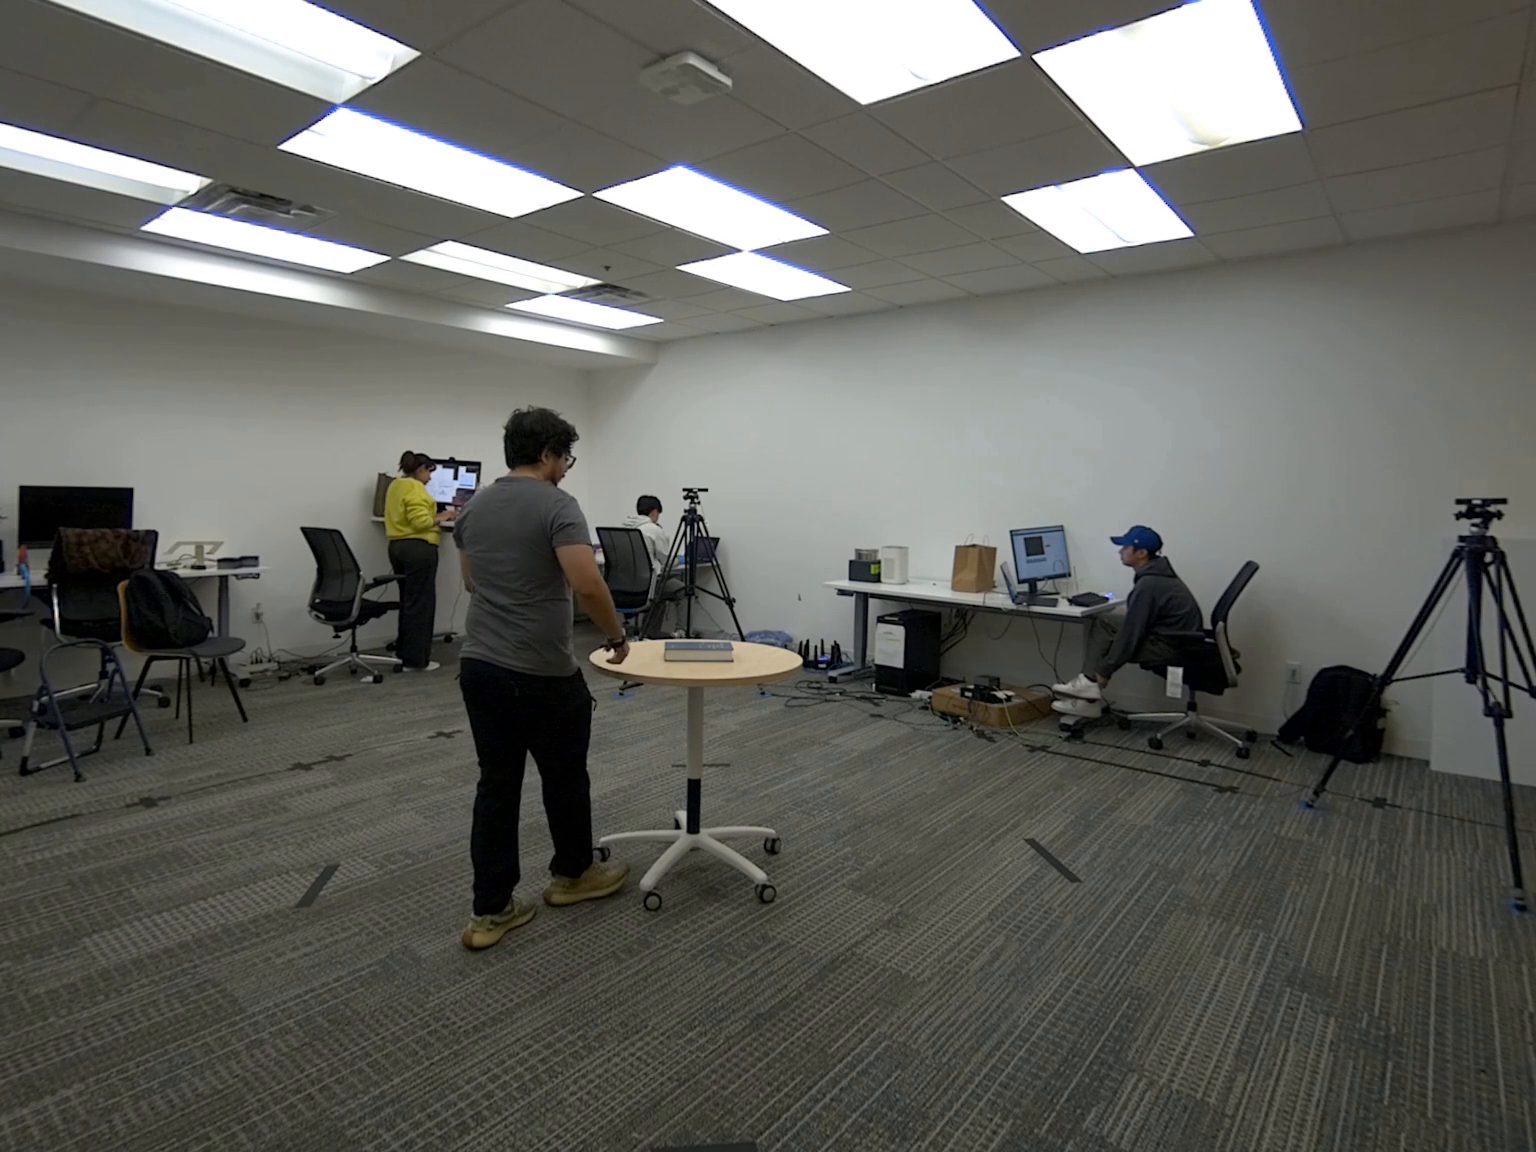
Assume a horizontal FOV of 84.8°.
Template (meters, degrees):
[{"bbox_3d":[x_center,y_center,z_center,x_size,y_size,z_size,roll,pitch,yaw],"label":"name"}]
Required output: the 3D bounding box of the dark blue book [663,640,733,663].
[{"bbox_3d":[-0.261,0.270,3.061,0.244,0.045,0.165,1,5,-5],"label":"dark blue book"}]
